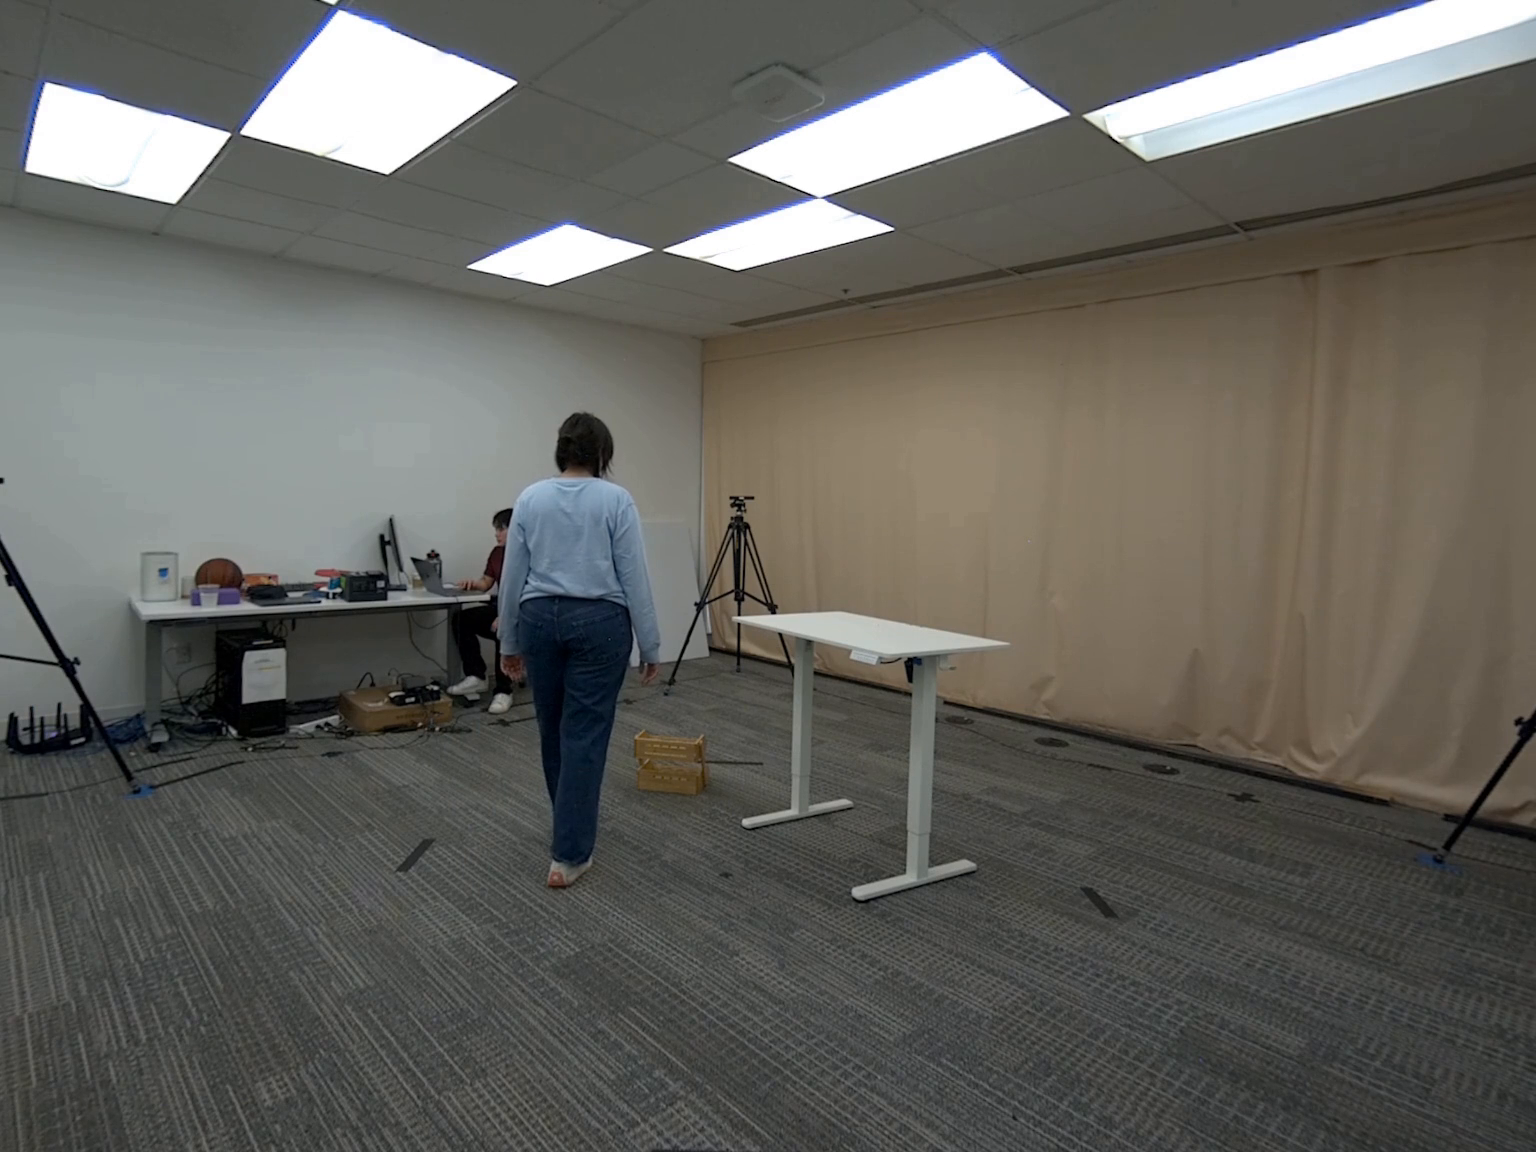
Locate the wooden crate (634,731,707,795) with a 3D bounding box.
[{"bbox_3d":[-0.472,0.879,4.079,0.327,0.272,0.300,3,5,9],"label":"wooden crate"}]
